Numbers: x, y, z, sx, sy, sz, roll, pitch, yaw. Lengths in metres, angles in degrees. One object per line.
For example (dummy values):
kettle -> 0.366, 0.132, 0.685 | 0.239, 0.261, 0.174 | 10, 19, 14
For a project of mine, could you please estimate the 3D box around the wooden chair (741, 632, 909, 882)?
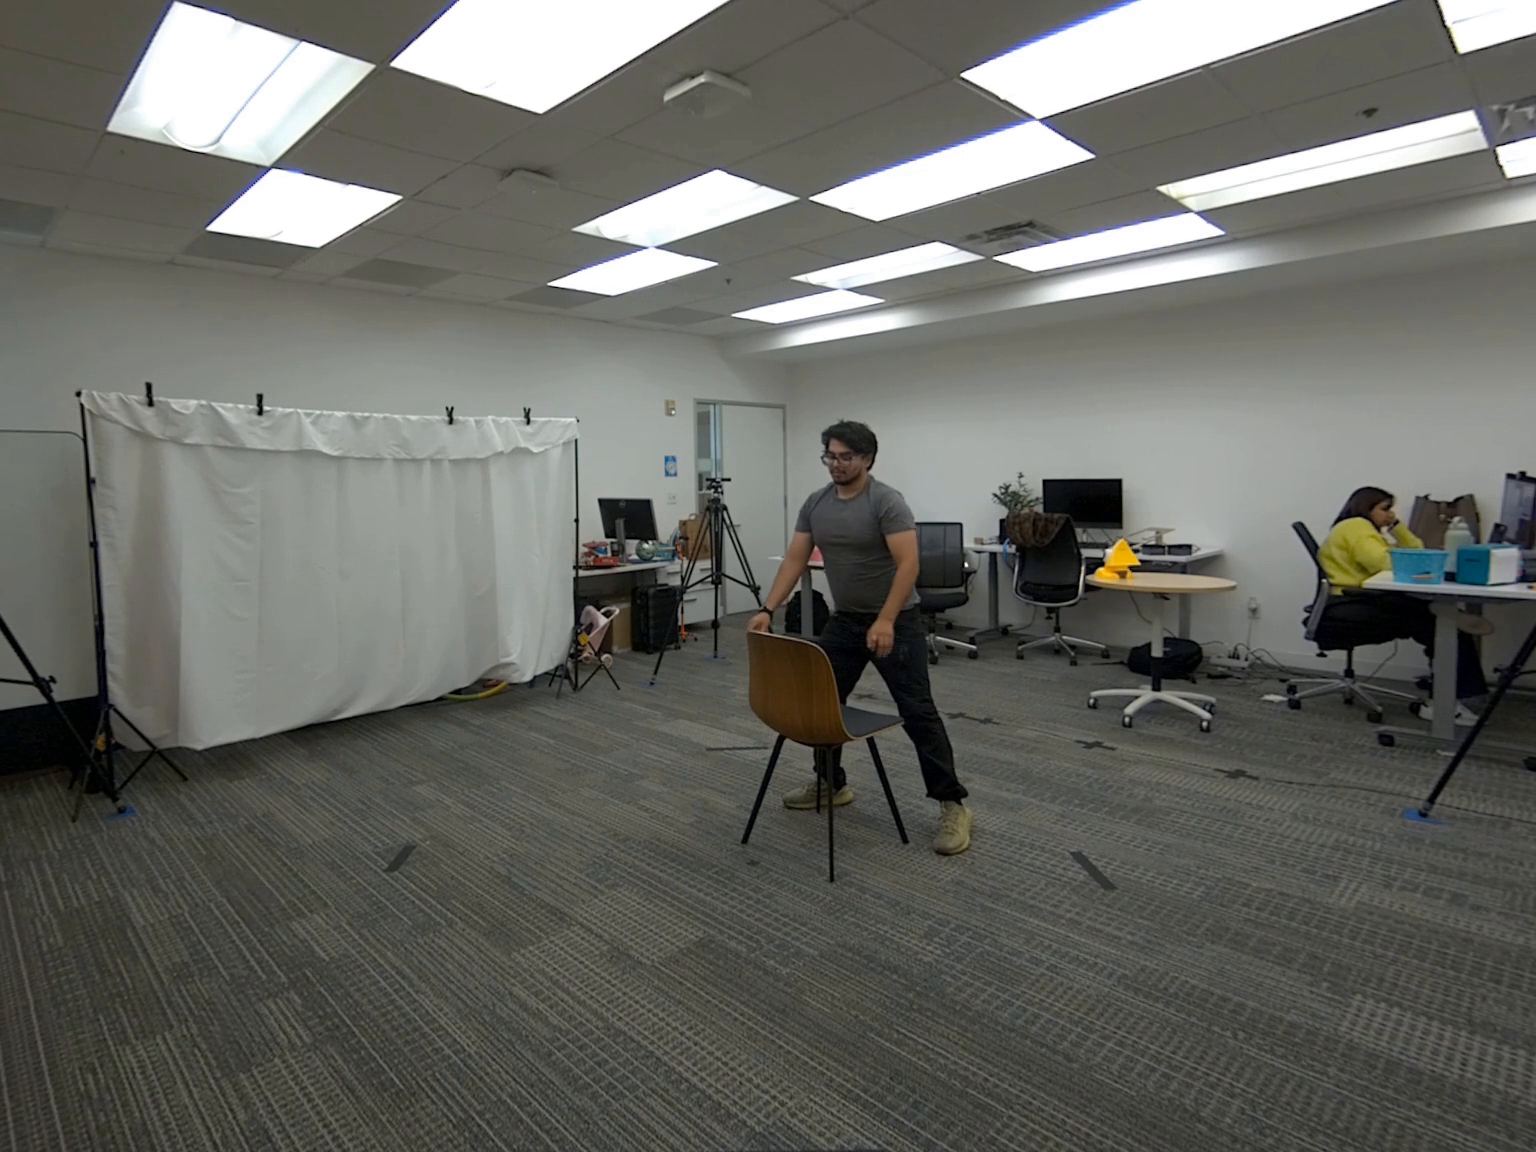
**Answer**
wooden chair -> 0.215, 0.597, 3.233 | 0.511, 0.872, 0.493 | -10, 9, -44
